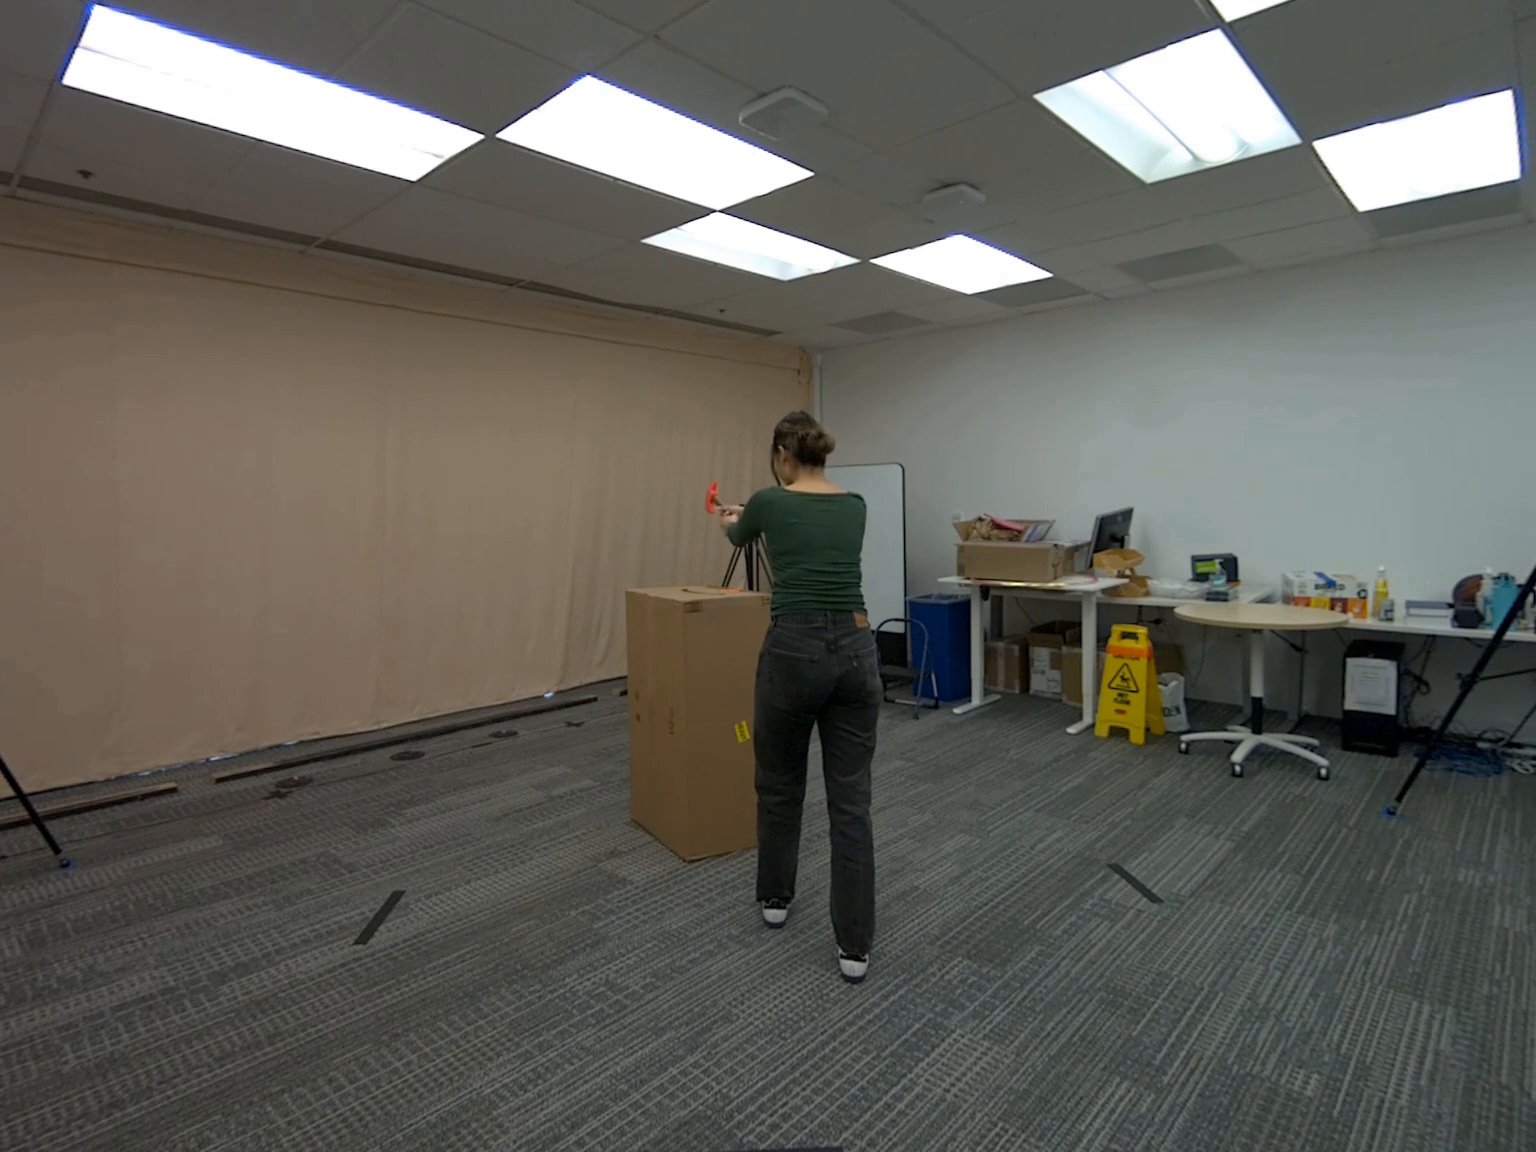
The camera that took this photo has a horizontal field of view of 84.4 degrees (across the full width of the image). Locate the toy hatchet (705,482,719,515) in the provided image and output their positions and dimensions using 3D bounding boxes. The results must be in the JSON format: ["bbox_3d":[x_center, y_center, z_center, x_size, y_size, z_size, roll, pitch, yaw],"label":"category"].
[{"bbox_3d":[-0.181,-0.241,3.287,0.029,0.278,0.131,3,-43,-35],"label":"toy hatchet"}]
